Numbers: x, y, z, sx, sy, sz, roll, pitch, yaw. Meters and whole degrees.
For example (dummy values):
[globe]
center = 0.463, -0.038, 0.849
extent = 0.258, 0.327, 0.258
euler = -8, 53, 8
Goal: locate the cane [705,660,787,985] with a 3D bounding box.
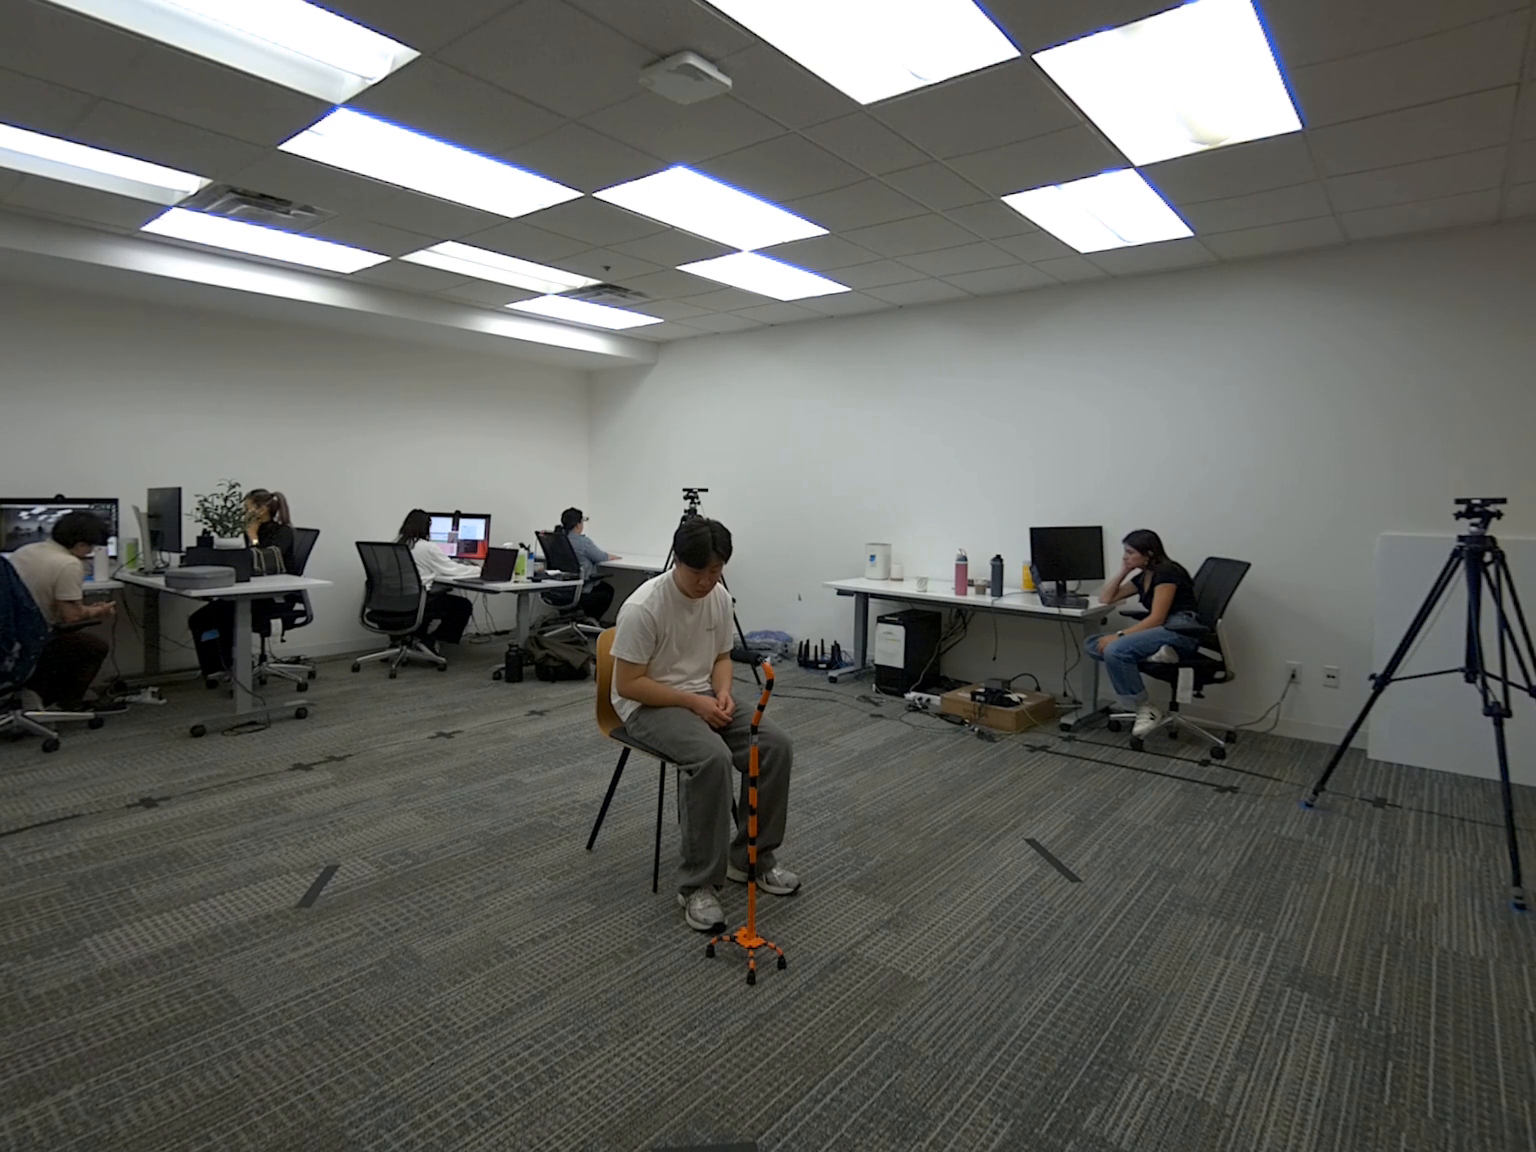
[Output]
[cane]
center = -0.056, 0.674, 2.478
extent = 0.147, 0.905, 0.213
euler = -1, 5, -45
